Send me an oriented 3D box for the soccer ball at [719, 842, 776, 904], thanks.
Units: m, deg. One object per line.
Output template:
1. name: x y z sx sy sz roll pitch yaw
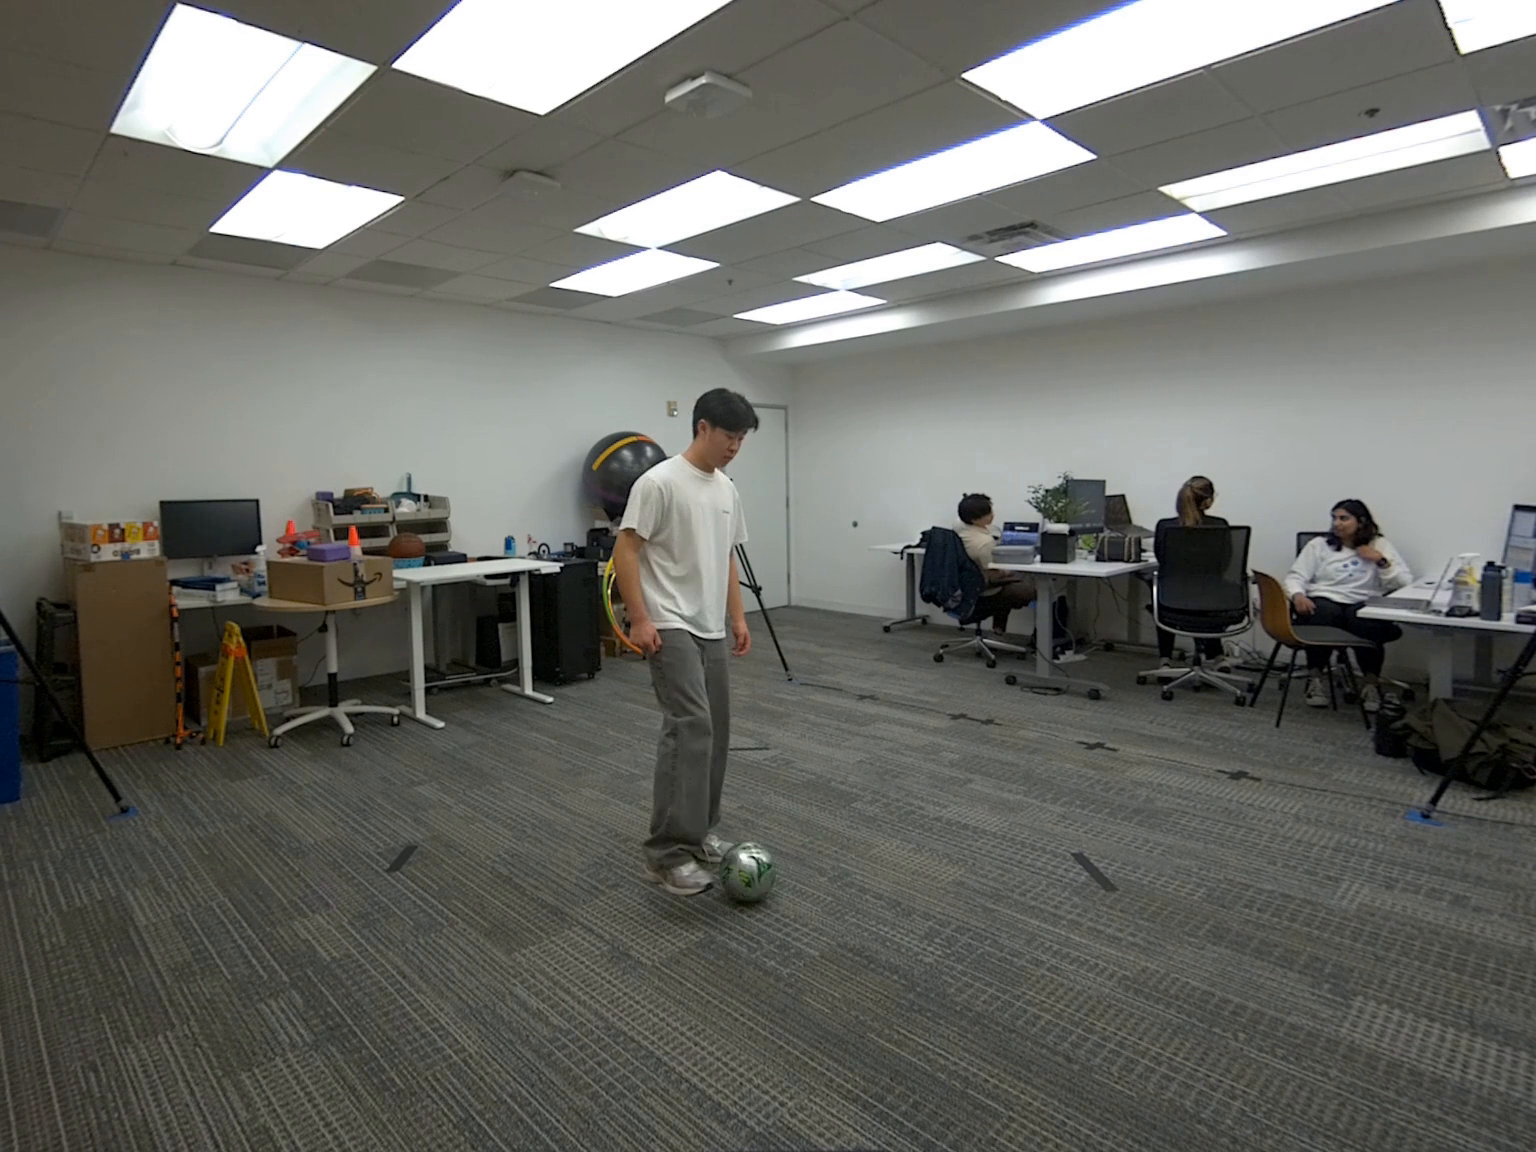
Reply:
1. soccer ball: -0.067 0.978 2.843 0.187 0.187 0.188 -1 5 -2
